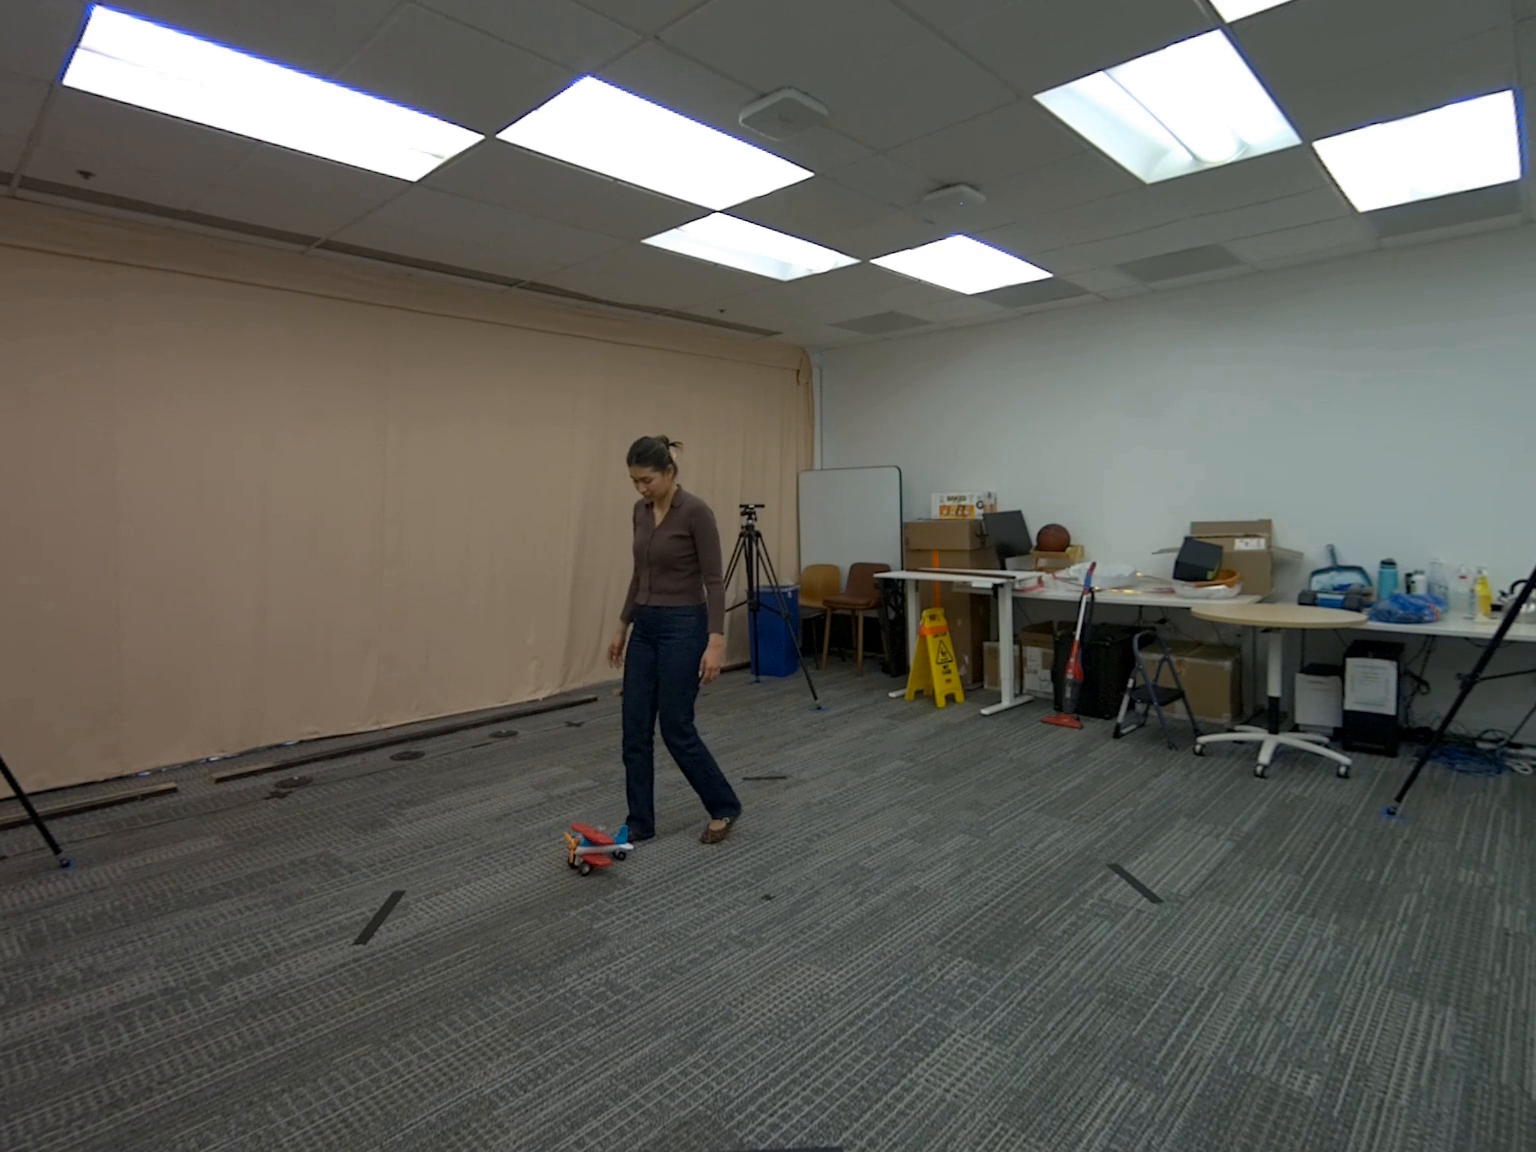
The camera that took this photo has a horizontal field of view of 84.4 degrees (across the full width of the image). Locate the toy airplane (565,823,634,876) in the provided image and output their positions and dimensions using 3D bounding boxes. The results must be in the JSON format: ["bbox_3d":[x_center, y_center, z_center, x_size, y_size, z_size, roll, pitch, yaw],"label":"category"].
[{"bbox_3d":[-0.670,1.051,3.292,0.257,0.156,0.254,0,6,22],"label":"toy airplane"}]
